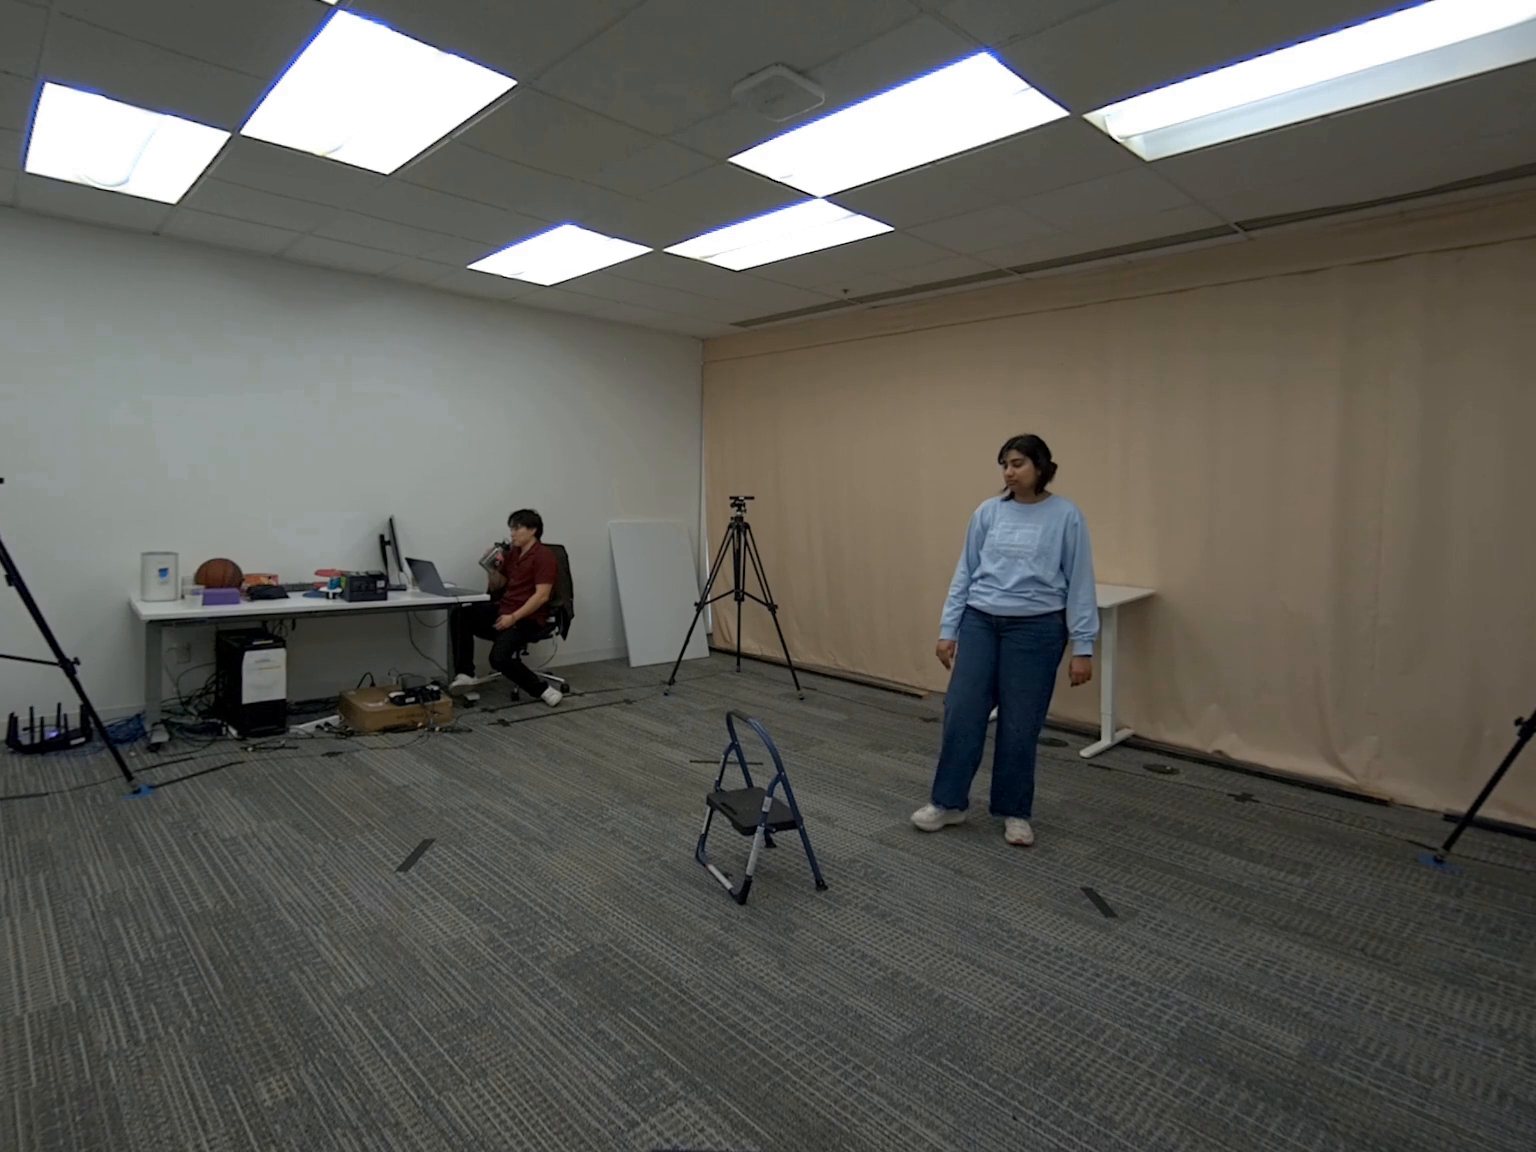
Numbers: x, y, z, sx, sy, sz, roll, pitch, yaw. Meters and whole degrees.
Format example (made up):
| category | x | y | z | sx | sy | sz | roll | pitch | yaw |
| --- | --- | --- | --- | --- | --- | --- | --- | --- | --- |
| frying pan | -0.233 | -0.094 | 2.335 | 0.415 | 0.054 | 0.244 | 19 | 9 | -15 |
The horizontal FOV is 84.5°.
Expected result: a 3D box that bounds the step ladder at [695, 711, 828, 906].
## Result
| category | x | y | z | sx | sy | sz | roll | pitch | yaw |
| --- | --- | --- | --- | --- | --- | --- | --- | --- | --- |
| step ladder | -0.037 | 0.803 | 3.110 | 0.343 | 0.605 | 0.440 | -1 | 4 | -27 |
